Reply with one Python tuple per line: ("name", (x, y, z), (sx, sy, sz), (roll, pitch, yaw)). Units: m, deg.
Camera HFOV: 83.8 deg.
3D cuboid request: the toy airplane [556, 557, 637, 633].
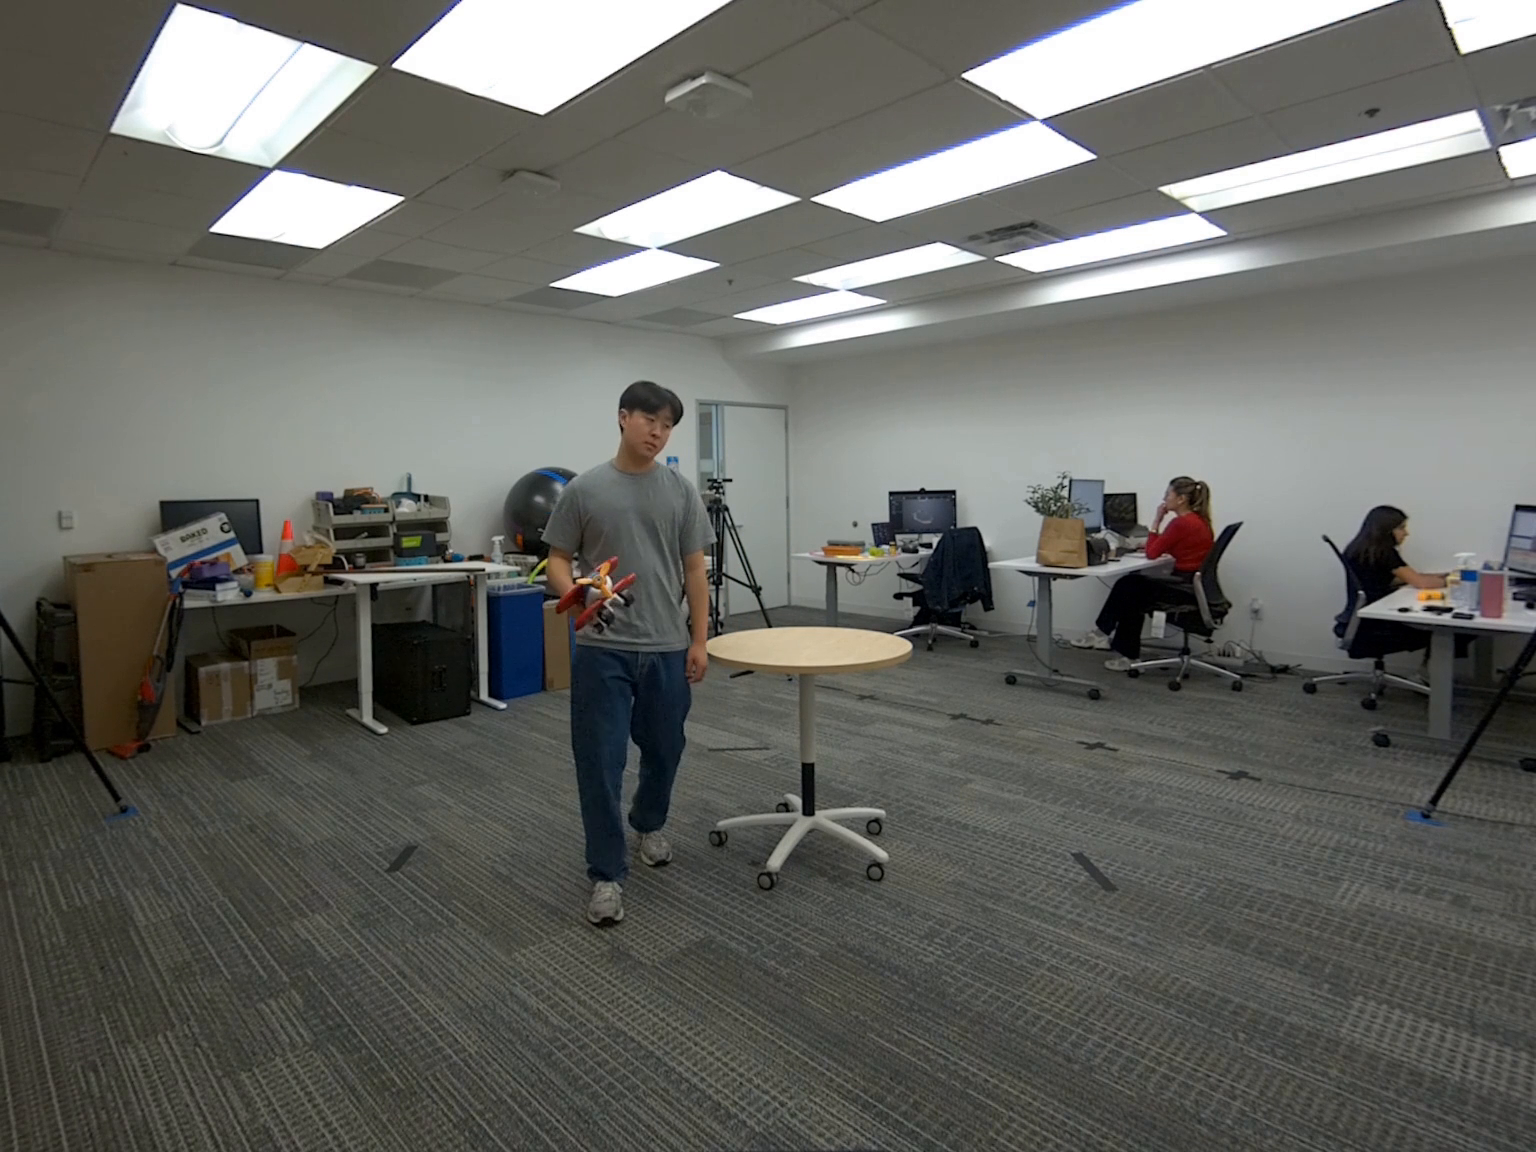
("toy airplane", (-0.533, 0.085, 2.612), (0.260, 0.156, 0.250), (-40, 3, 31))
